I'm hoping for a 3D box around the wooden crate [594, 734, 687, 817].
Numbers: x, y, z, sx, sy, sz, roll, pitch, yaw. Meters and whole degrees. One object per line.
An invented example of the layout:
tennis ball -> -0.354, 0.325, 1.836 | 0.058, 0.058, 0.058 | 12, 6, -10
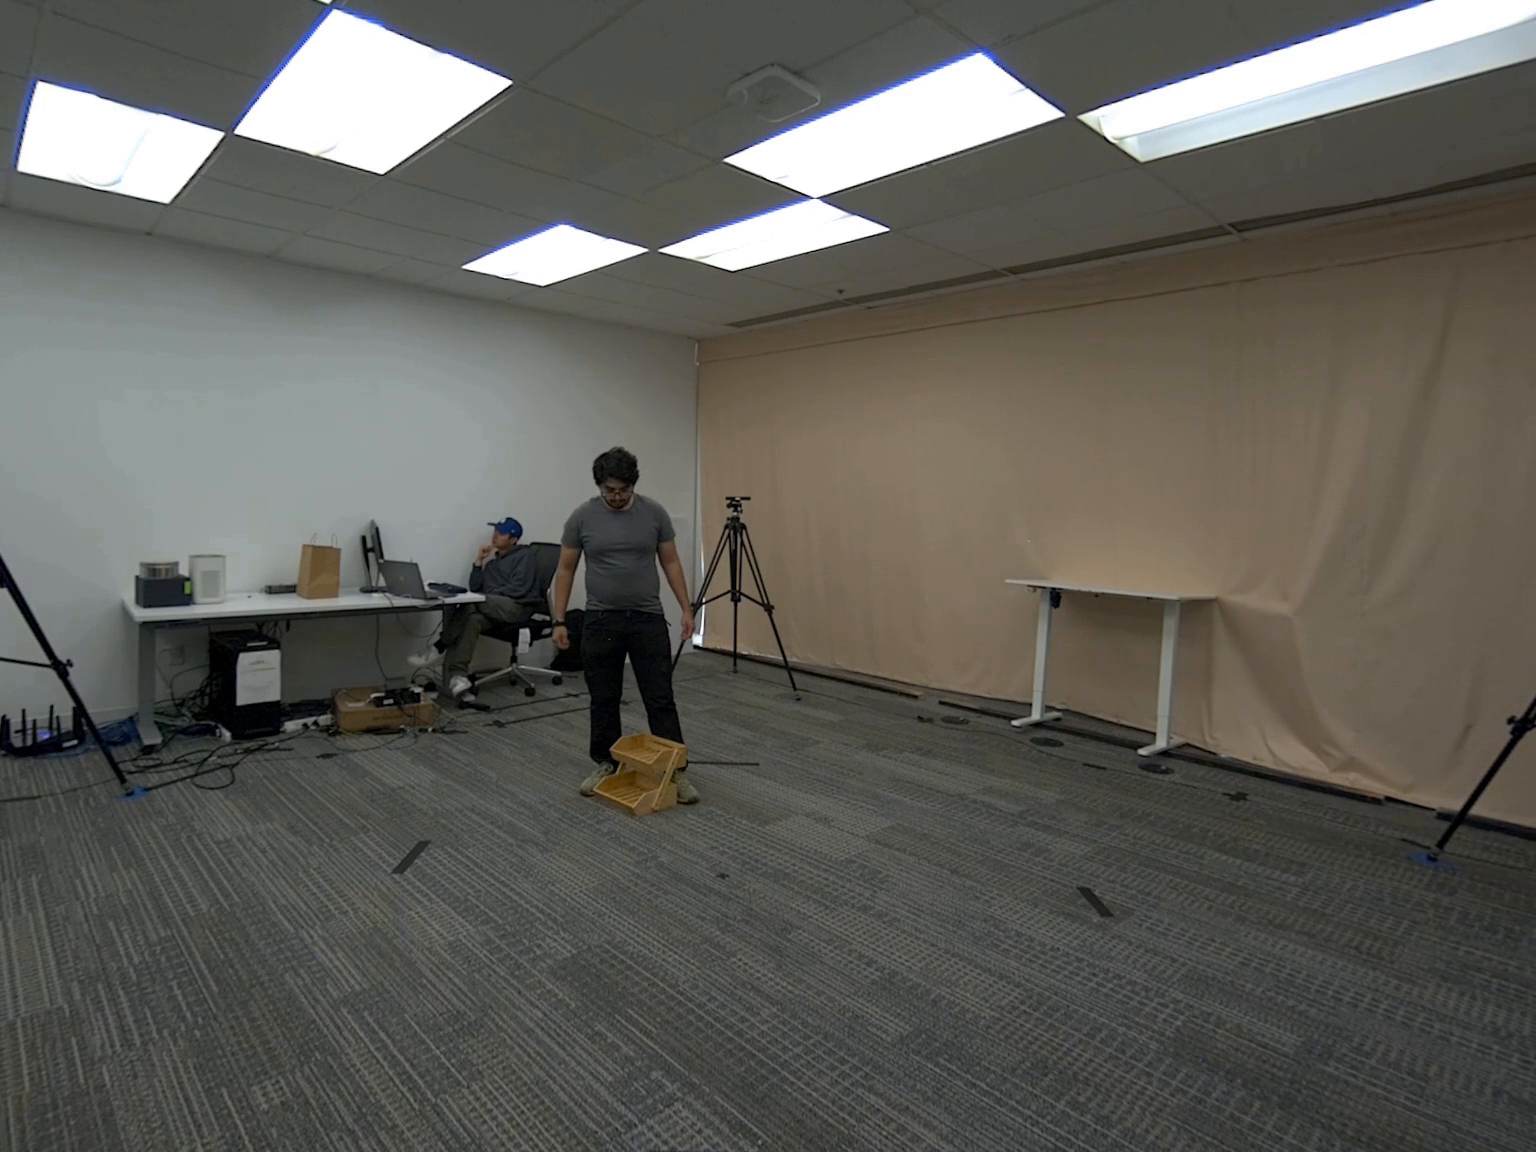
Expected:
wooden crate -> -0.597, 0.896, 3.853 | 0.333, 0.273, 0.295 | 5, 4, 44
